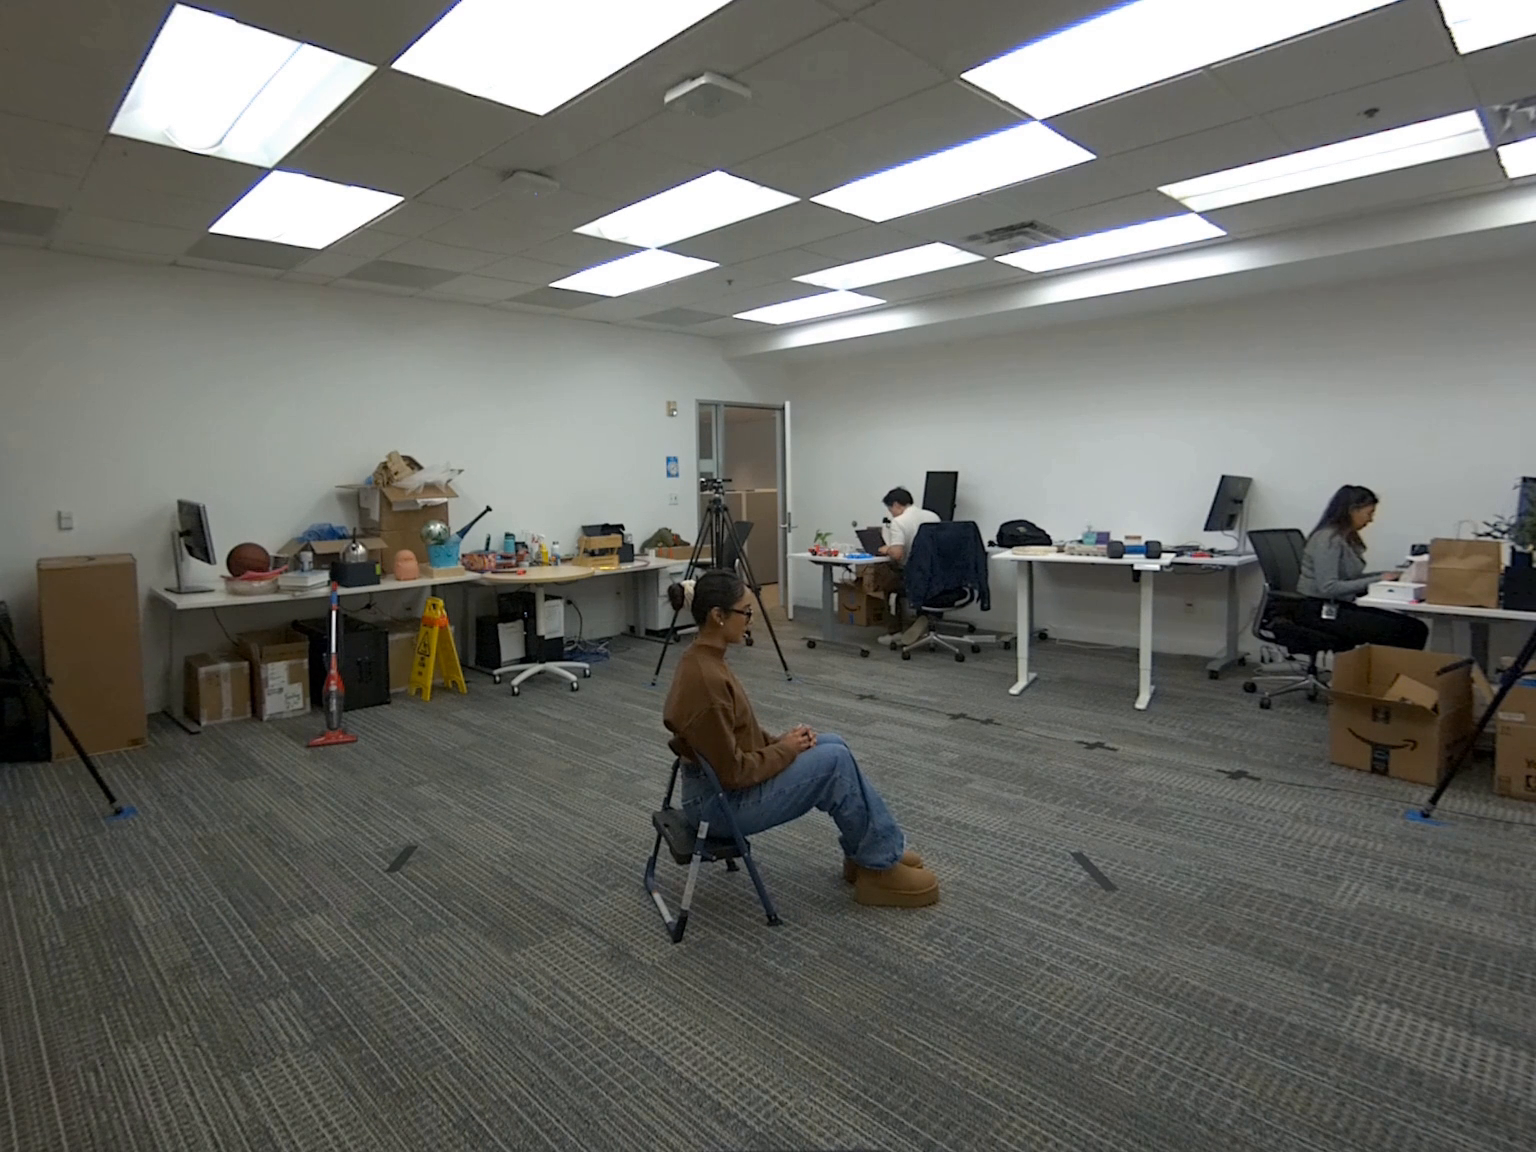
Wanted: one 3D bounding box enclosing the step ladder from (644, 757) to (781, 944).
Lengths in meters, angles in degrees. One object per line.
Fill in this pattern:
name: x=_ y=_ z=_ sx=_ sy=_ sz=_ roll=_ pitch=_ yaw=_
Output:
step ladder: x=-0.200 y=0.786 z=2.805 sx=0.343 sy=0.604 sz=0.440 roll=-2 pitch=4 yaw=-21
